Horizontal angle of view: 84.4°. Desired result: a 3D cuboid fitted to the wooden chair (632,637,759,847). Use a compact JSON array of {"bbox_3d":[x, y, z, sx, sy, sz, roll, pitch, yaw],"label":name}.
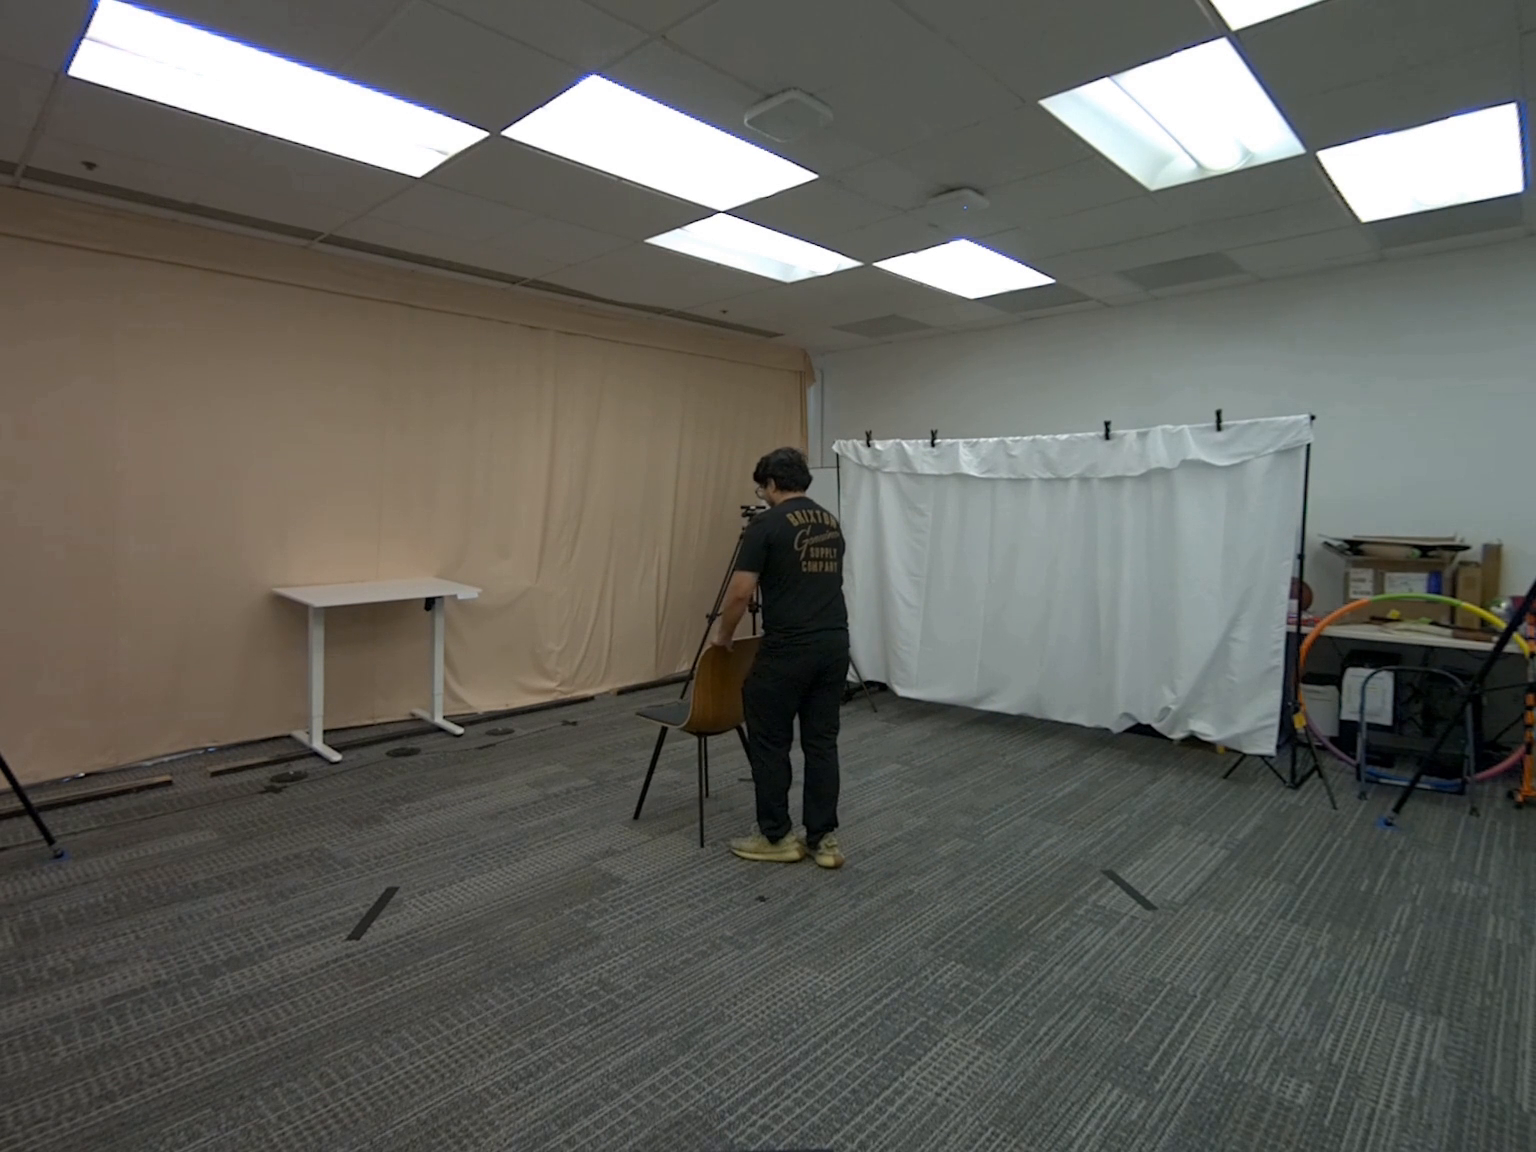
[{"bbox_3d":[-0.290,0.655,3.717,0.463,0.874,0.541,-4,9,-45],"label":"wooden chair"}]
